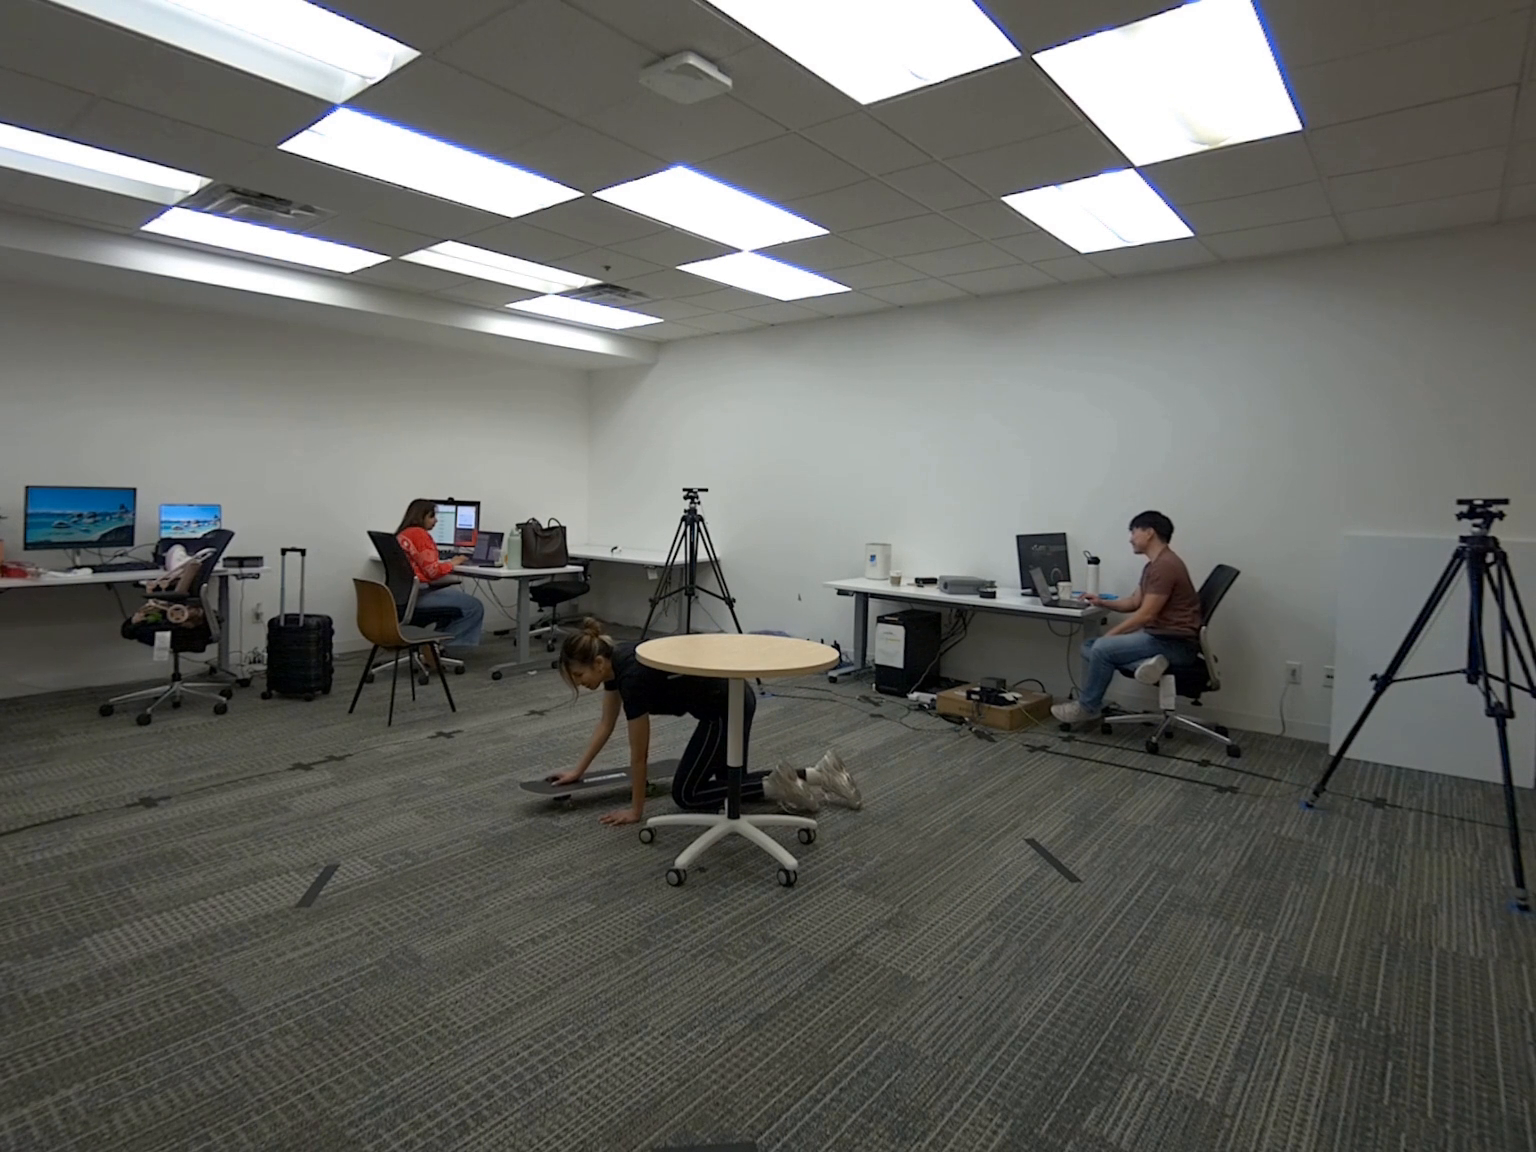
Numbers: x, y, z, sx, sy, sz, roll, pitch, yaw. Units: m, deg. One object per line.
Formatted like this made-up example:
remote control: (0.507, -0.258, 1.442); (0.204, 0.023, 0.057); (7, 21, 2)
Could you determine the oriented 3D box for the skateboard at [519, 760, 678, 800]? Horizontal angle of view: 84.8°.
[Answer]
skateboard: (-0.746, 0.938, 3.829); (0.765, 0.110, 0.199); (-2, 6, -29)
